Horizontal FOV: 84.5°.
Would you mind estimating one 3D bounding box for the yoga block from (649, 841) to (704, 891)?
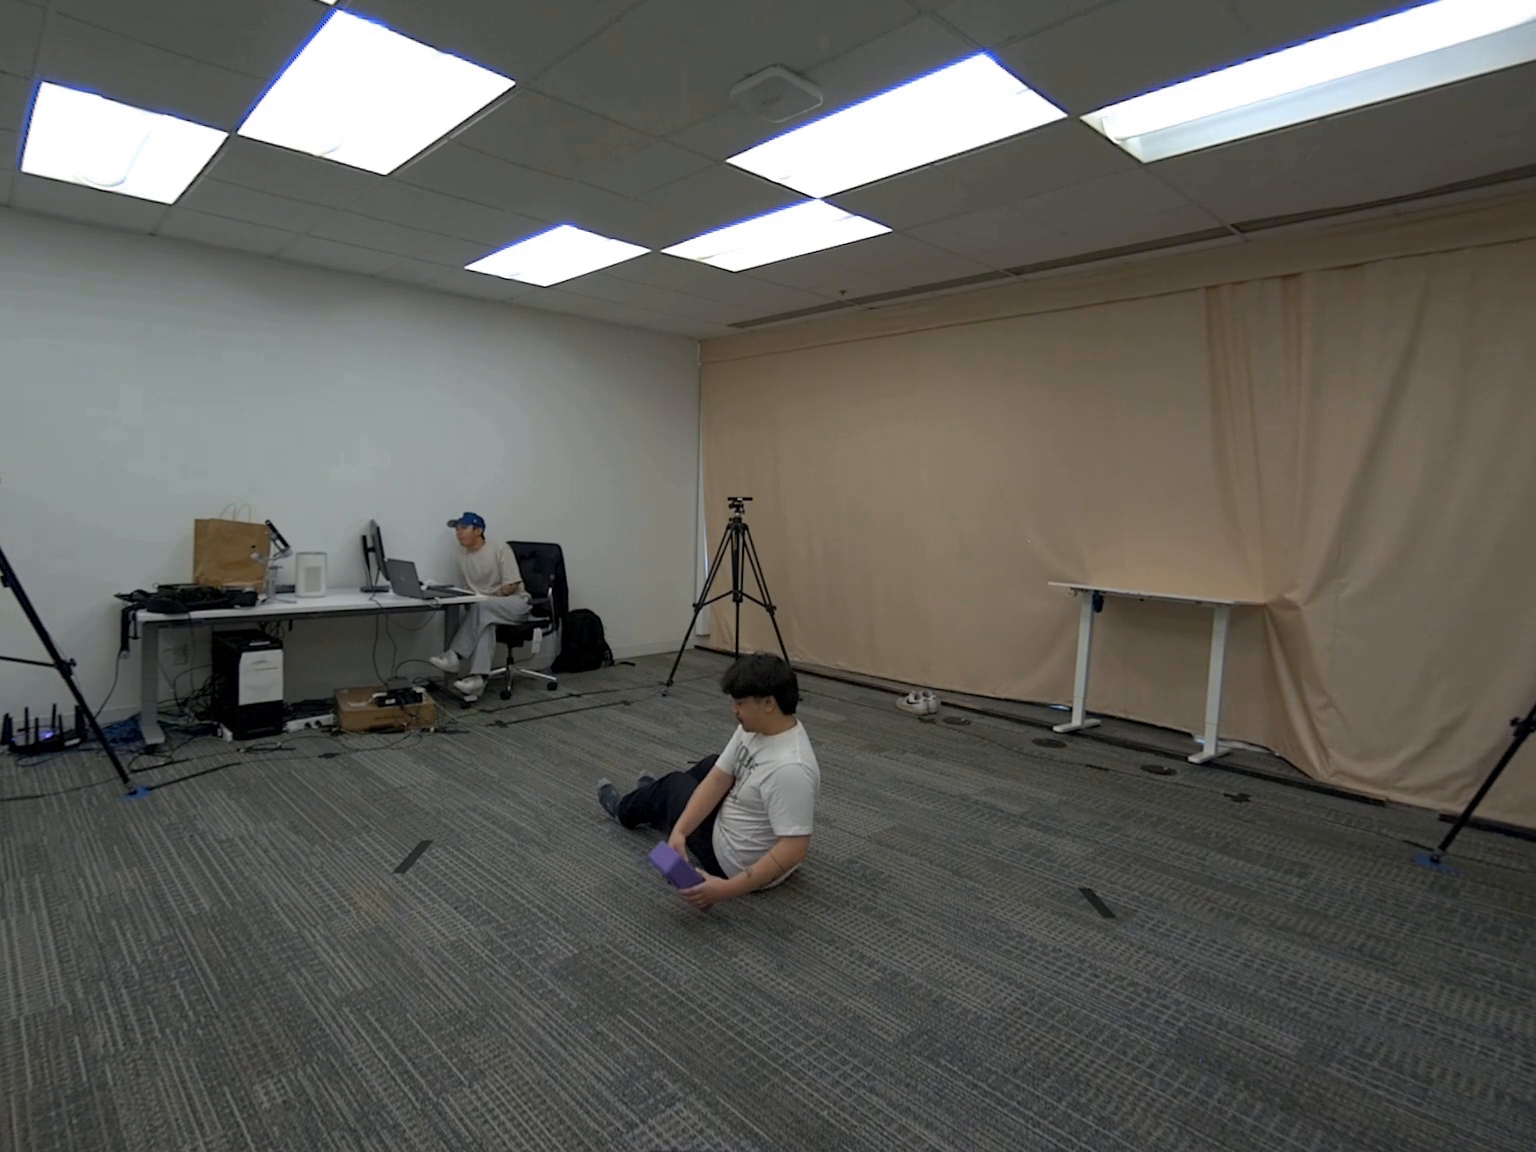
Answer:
[{"bbox_3d":[-0.294,0.983,2.764,0.076,0.224,0.152,-45,25,-21],"label":"yoga block"}]
